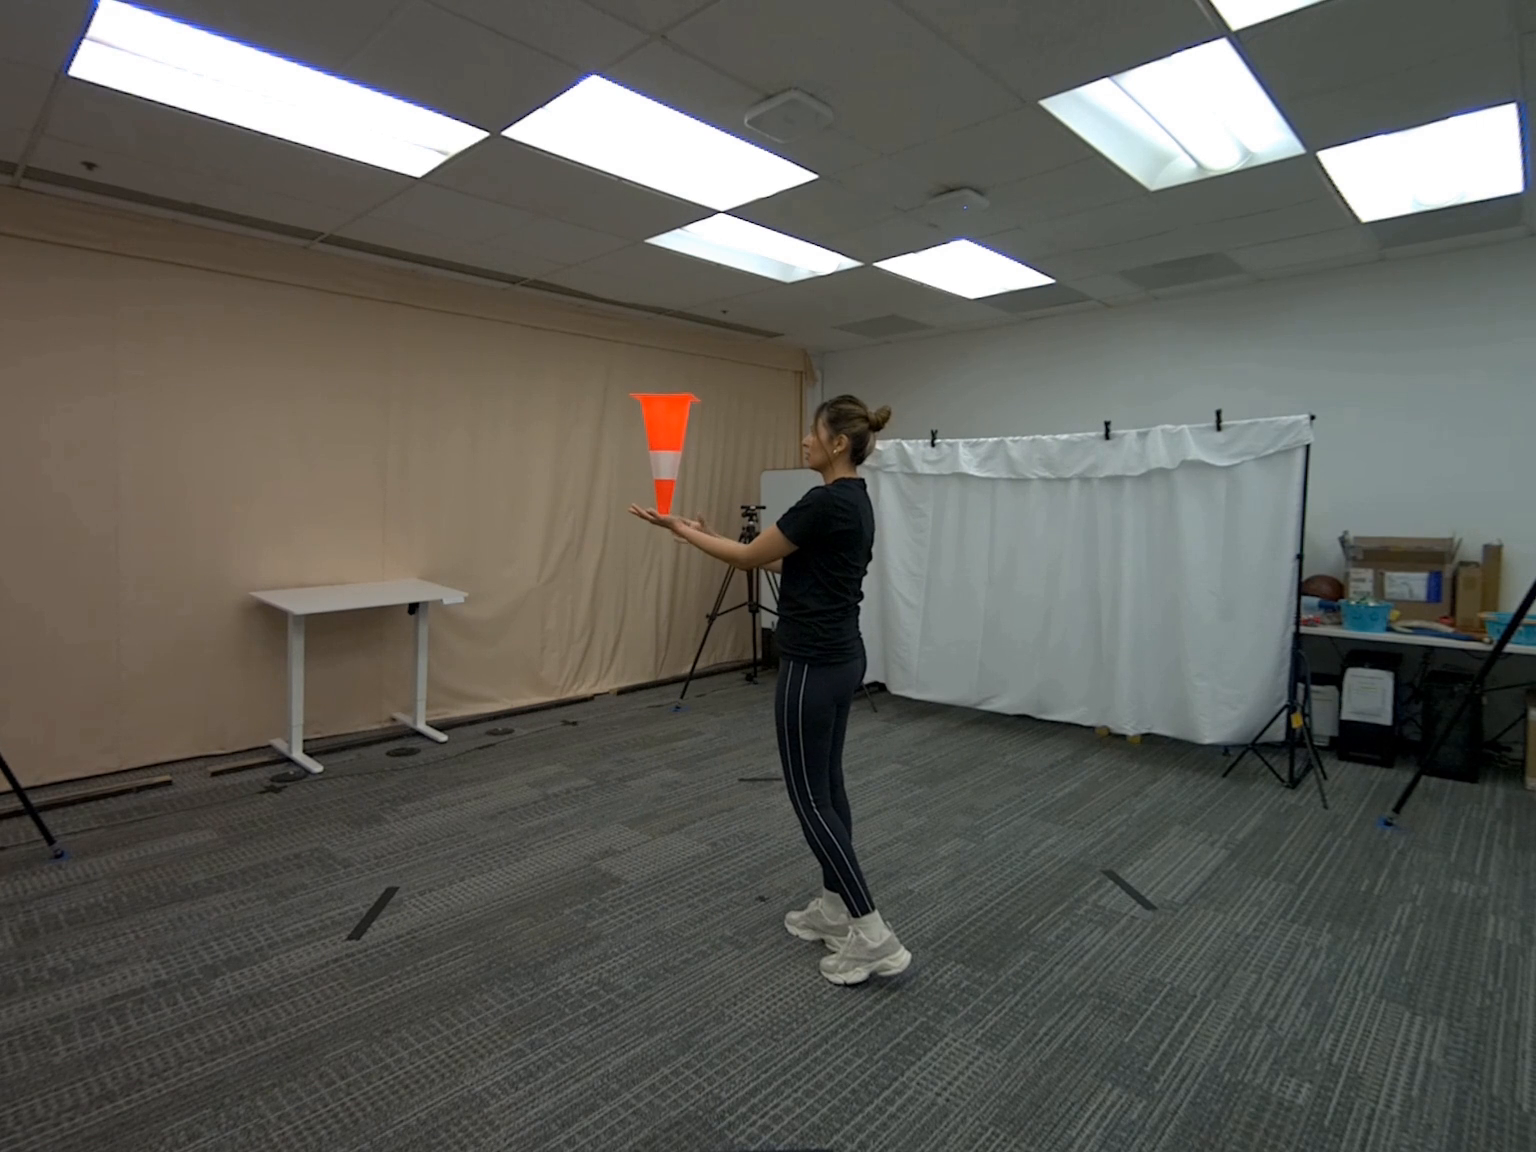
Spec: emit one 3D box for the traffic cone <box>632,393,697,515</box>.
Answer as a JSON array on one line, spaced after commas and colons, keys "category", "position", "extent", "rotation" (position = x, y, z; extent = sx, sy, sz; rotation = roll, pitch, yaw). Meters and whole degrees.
[{"category": "traffic cone", "position": [-0.323, -0.372, 2.657], "extent": [0.205, 0.383, 0.204], "rotation": [1, 4, 6]}]
